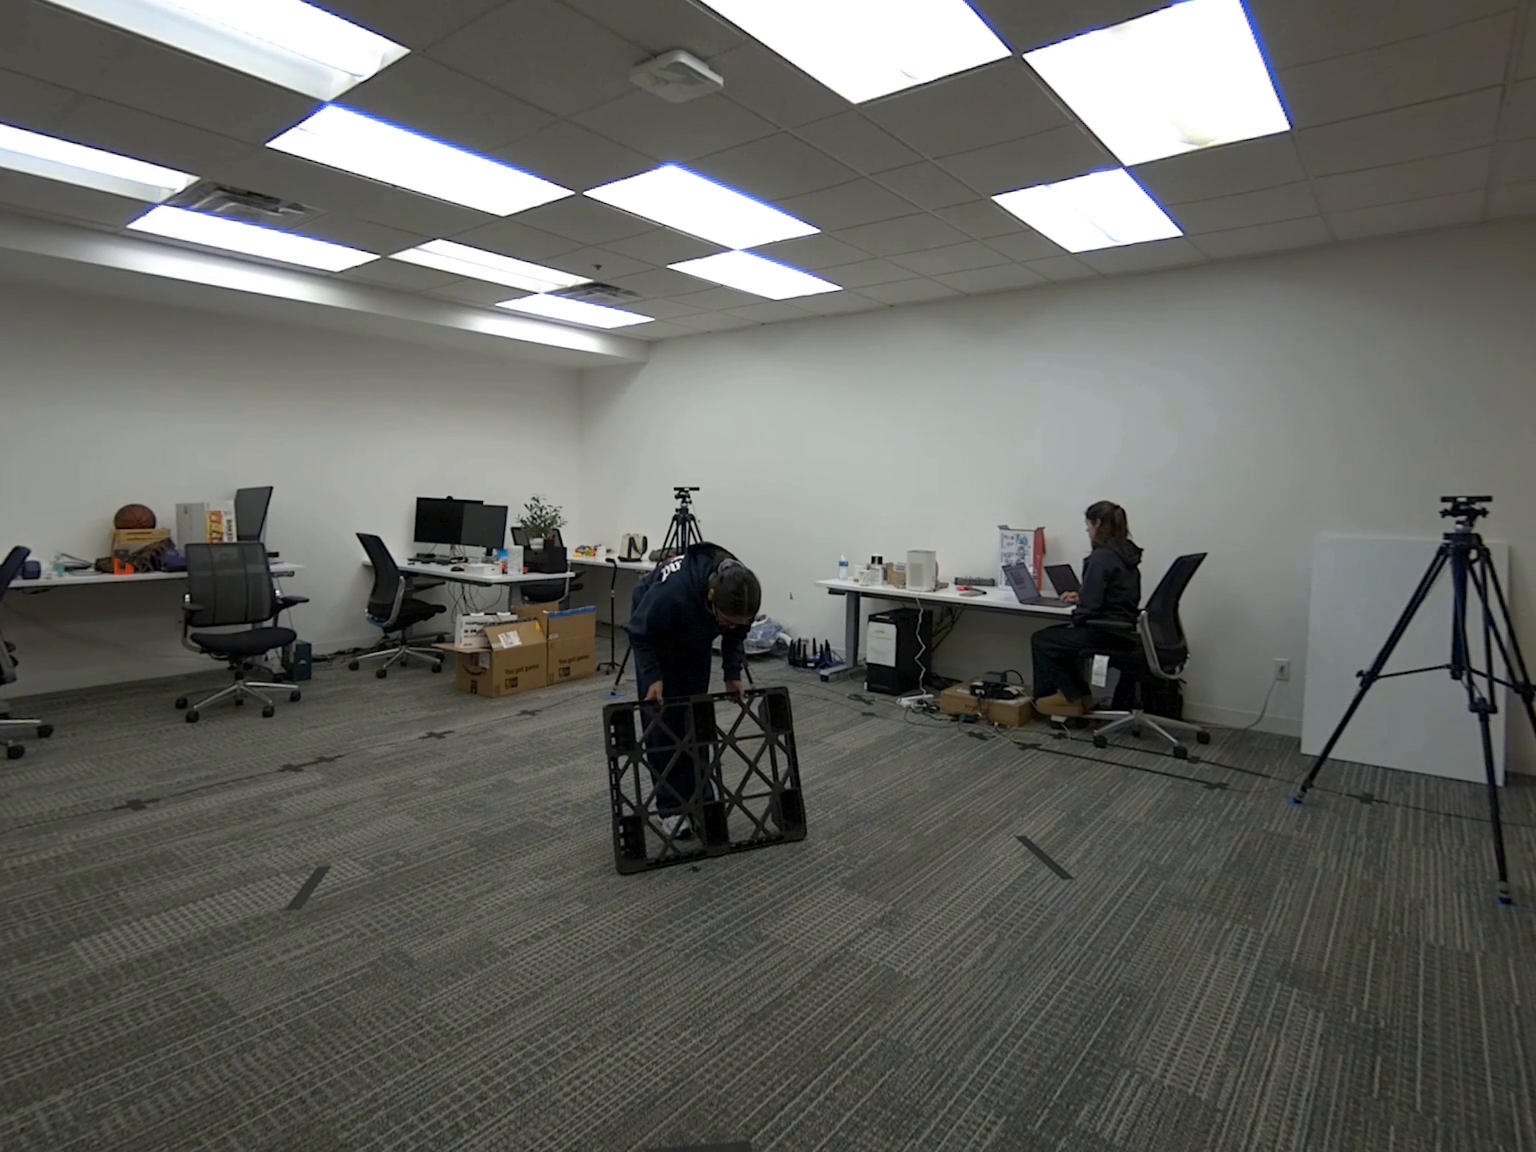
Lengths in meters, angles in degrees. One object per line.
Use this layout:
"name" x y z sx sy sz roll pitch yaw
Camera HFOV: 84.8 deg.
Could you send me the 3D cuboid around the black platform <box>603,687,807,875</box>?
"black platform" -0.260 0.770 3.324 0.785 0.613 0.145 -1 -13 -27
